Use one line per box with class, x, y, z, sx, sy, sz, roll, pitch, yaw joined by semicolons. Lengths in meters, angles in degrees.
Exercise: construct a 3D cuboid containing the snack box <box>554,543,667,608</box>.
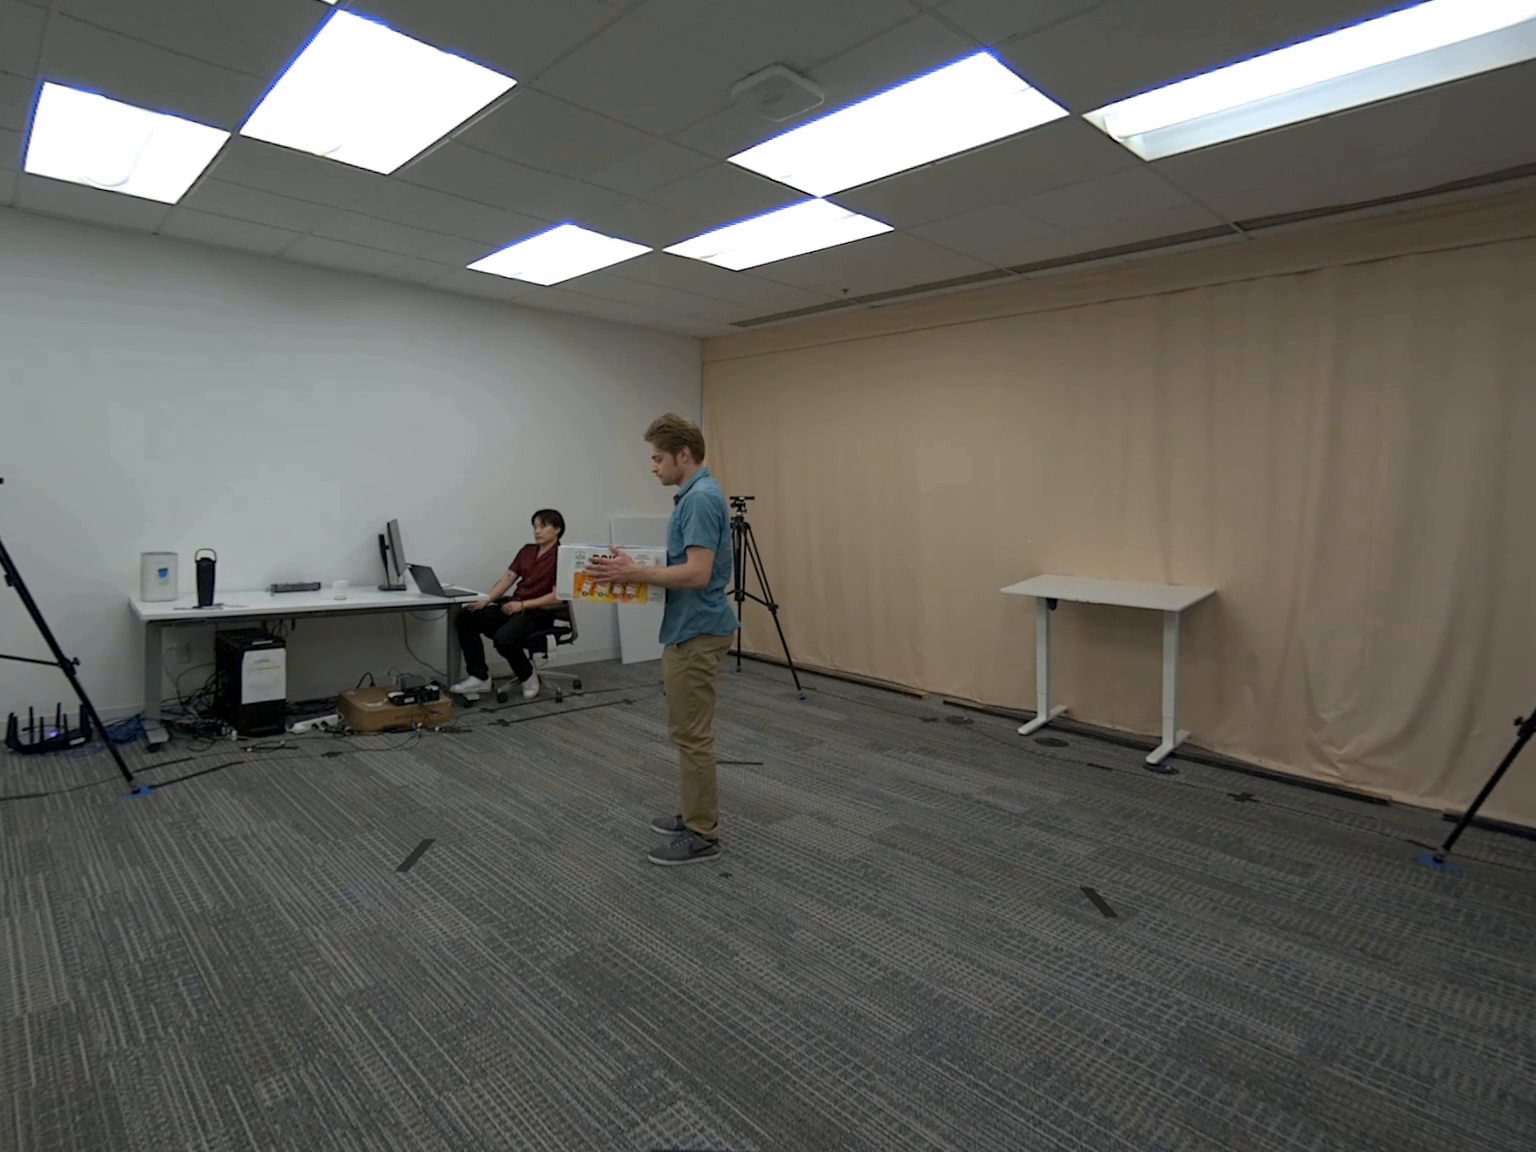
snack box;-0.586;-0.011;3.278;0.405;0.205;0.341;2;3;0
